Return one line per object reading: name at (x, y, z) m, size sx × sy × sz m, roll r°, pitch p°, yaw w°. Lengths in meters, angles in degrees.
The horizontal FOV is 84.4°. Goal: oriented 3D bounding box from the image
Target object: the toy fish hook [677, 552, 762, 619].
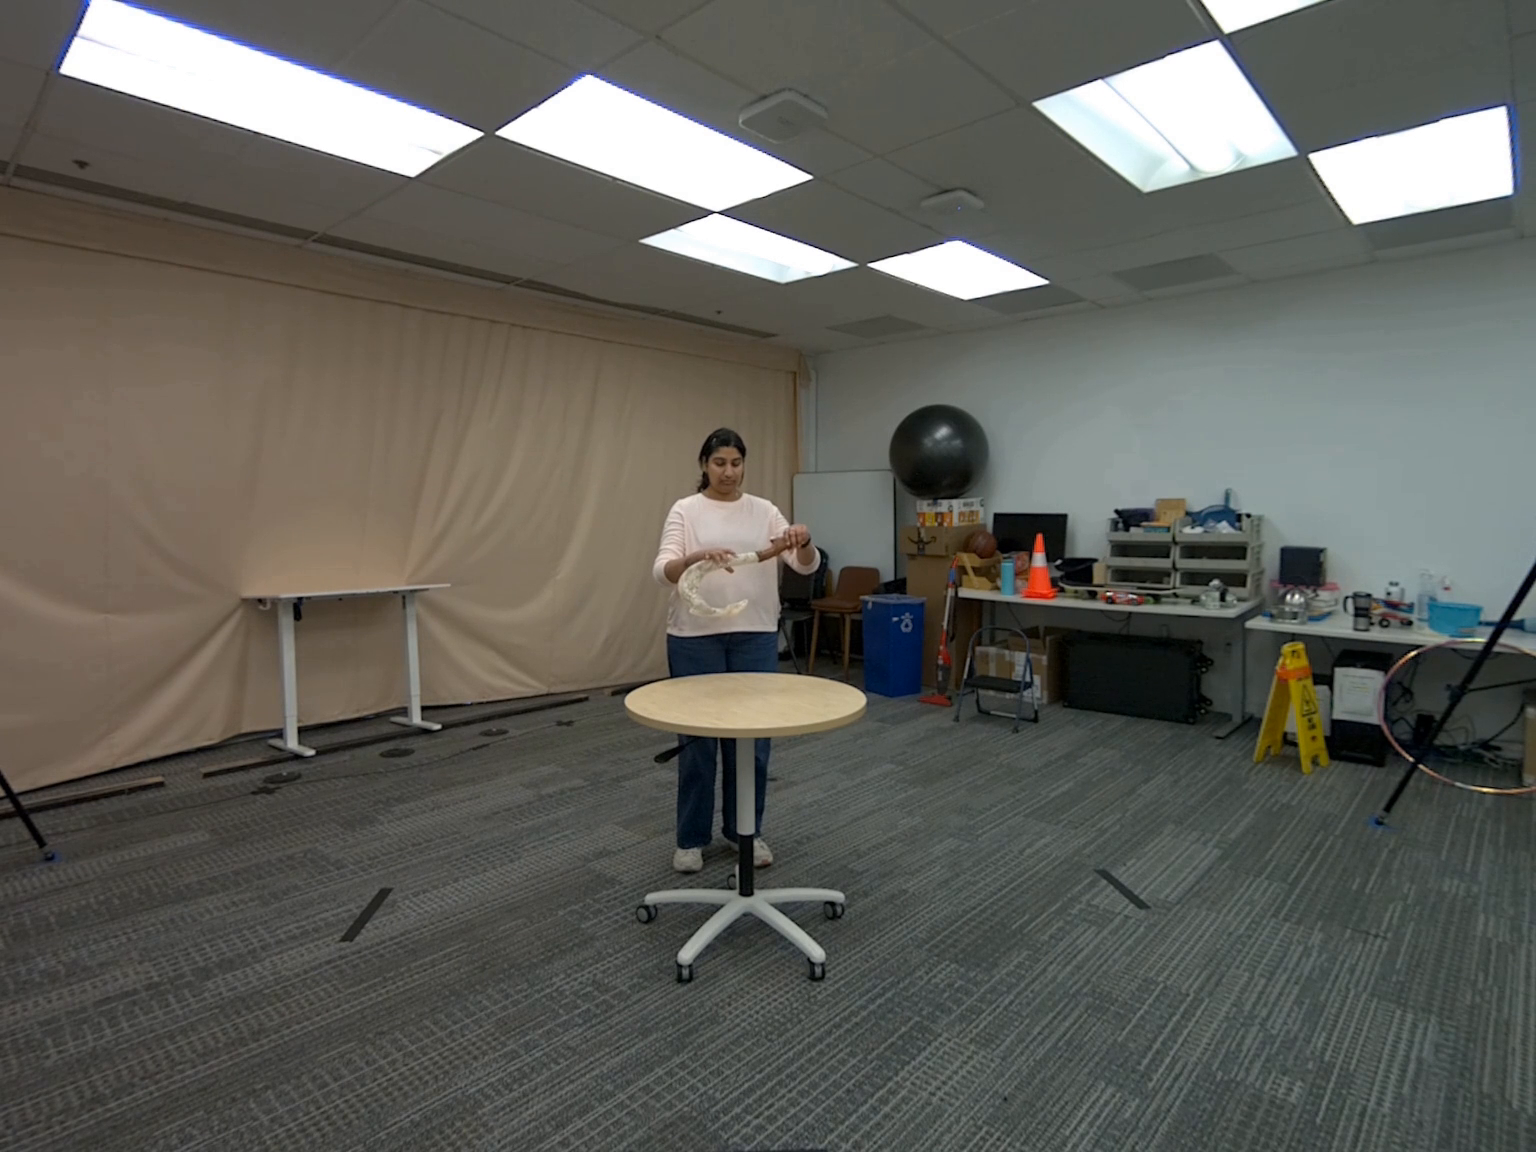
toy fish hook at (-0.047, 0.001, 2.865) m, size 0.500 × 0.229 × 0.048 m, roll -23°, pitch -19°, yaw -19°
